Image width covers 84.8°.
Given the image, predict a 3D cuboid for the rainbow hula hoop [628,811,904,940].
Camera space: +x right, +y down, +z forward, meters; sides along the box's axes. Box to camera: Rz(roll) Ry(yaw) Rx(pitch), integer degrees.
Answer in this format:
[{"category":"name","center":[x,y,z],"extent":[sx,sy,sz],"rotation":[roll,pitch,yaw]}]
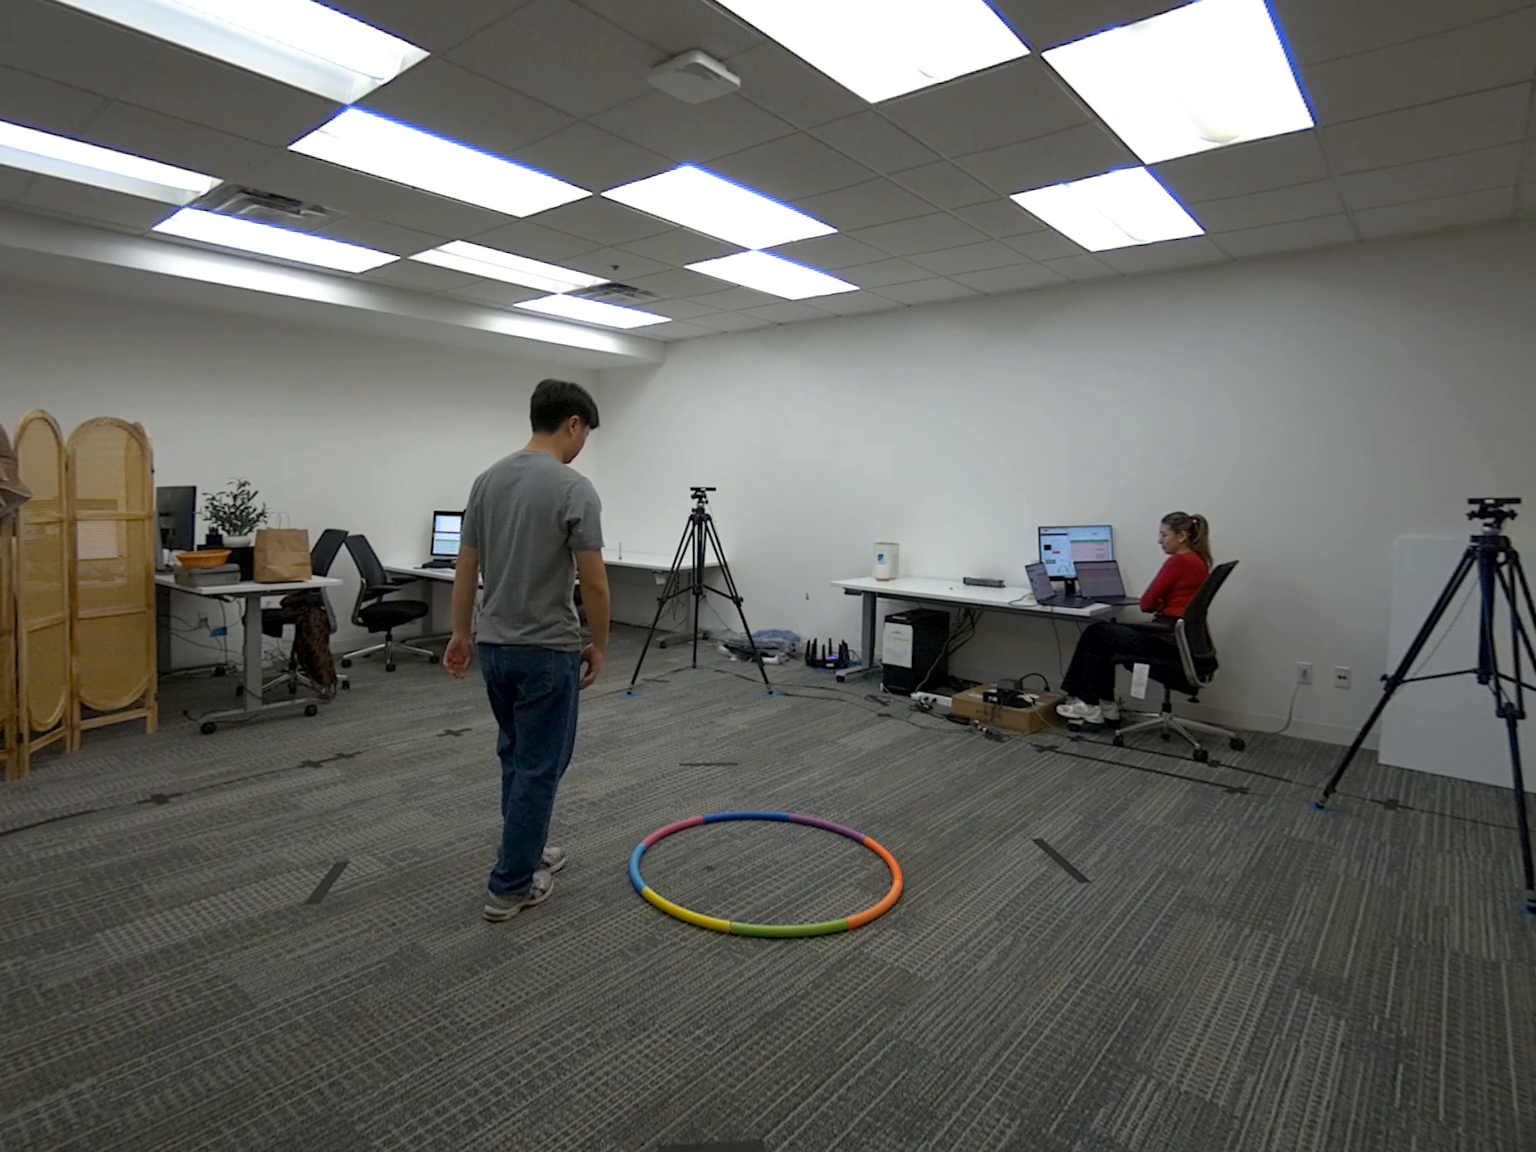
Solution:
[{"category":"rainbow hula hoop","center":[-0.020,1.039,3.102],"extent":[0.978,0.035,0.983],"rotation":[1,5,-2]}]
